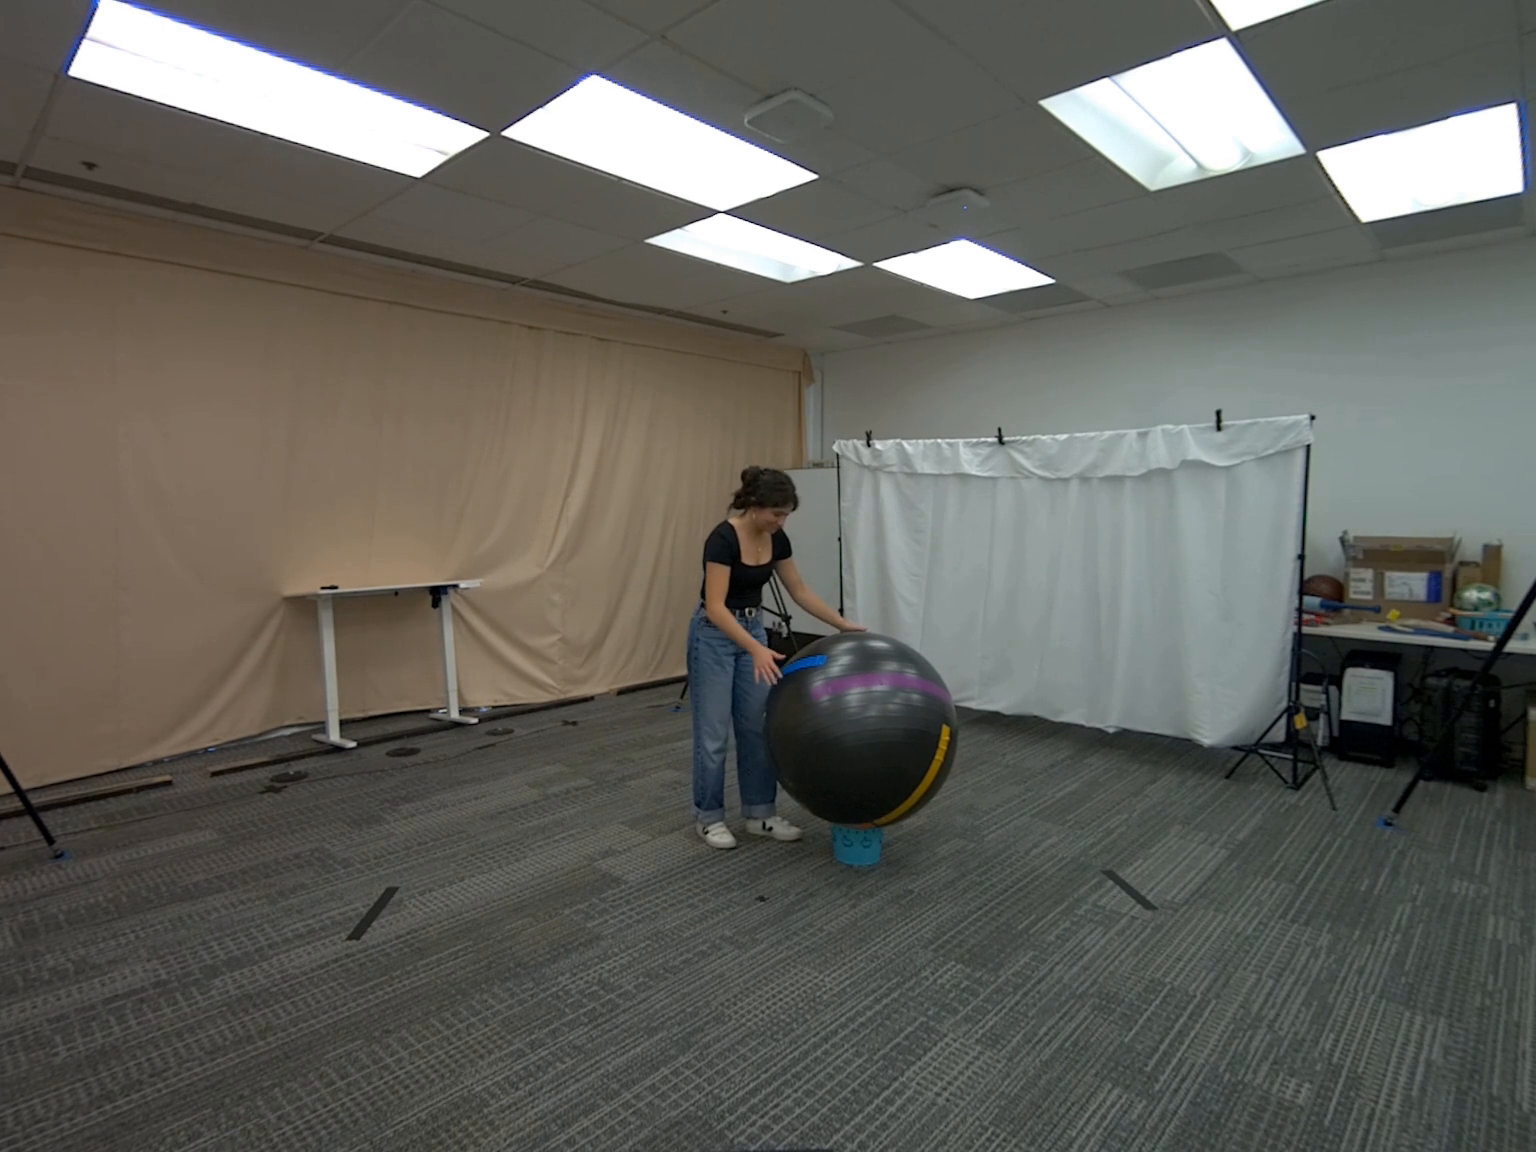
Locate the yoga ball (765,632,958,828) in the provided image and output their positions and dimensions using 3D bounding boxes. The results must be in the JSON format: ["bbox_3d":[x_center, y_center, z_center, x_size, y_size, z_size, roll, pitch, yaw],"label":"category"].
[{"bbox_3d":[0.363,0.609,3.340,0.757,0.756,0.760,0,4,-2],"label":"yoga ball"}]
